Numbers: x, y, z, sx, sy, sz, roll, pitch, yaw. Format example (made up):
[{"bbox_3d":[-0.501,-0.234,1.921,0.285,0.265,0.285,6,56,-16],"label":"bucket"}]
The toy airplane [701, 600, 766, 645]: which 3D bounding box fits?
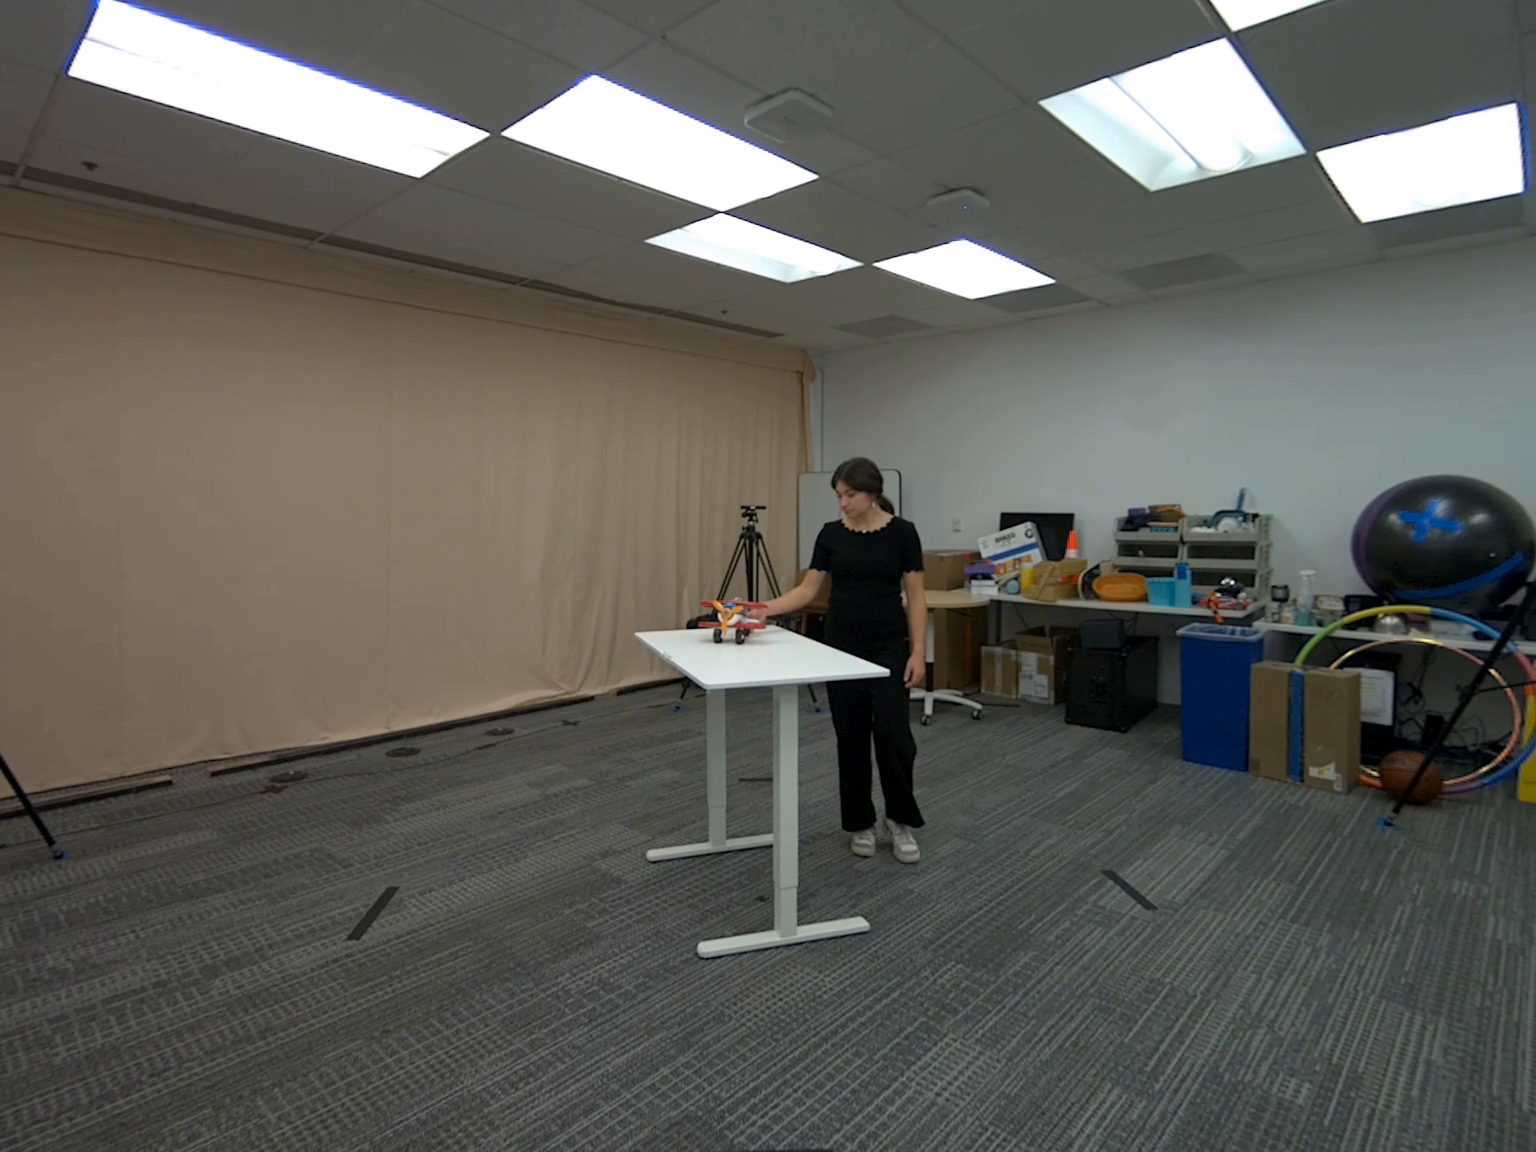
[{"bbox_3d":[-0.139,0.166,3.195,0.248,0.156,0.263,-1,5,-13],"label":"toy airplane"}]
